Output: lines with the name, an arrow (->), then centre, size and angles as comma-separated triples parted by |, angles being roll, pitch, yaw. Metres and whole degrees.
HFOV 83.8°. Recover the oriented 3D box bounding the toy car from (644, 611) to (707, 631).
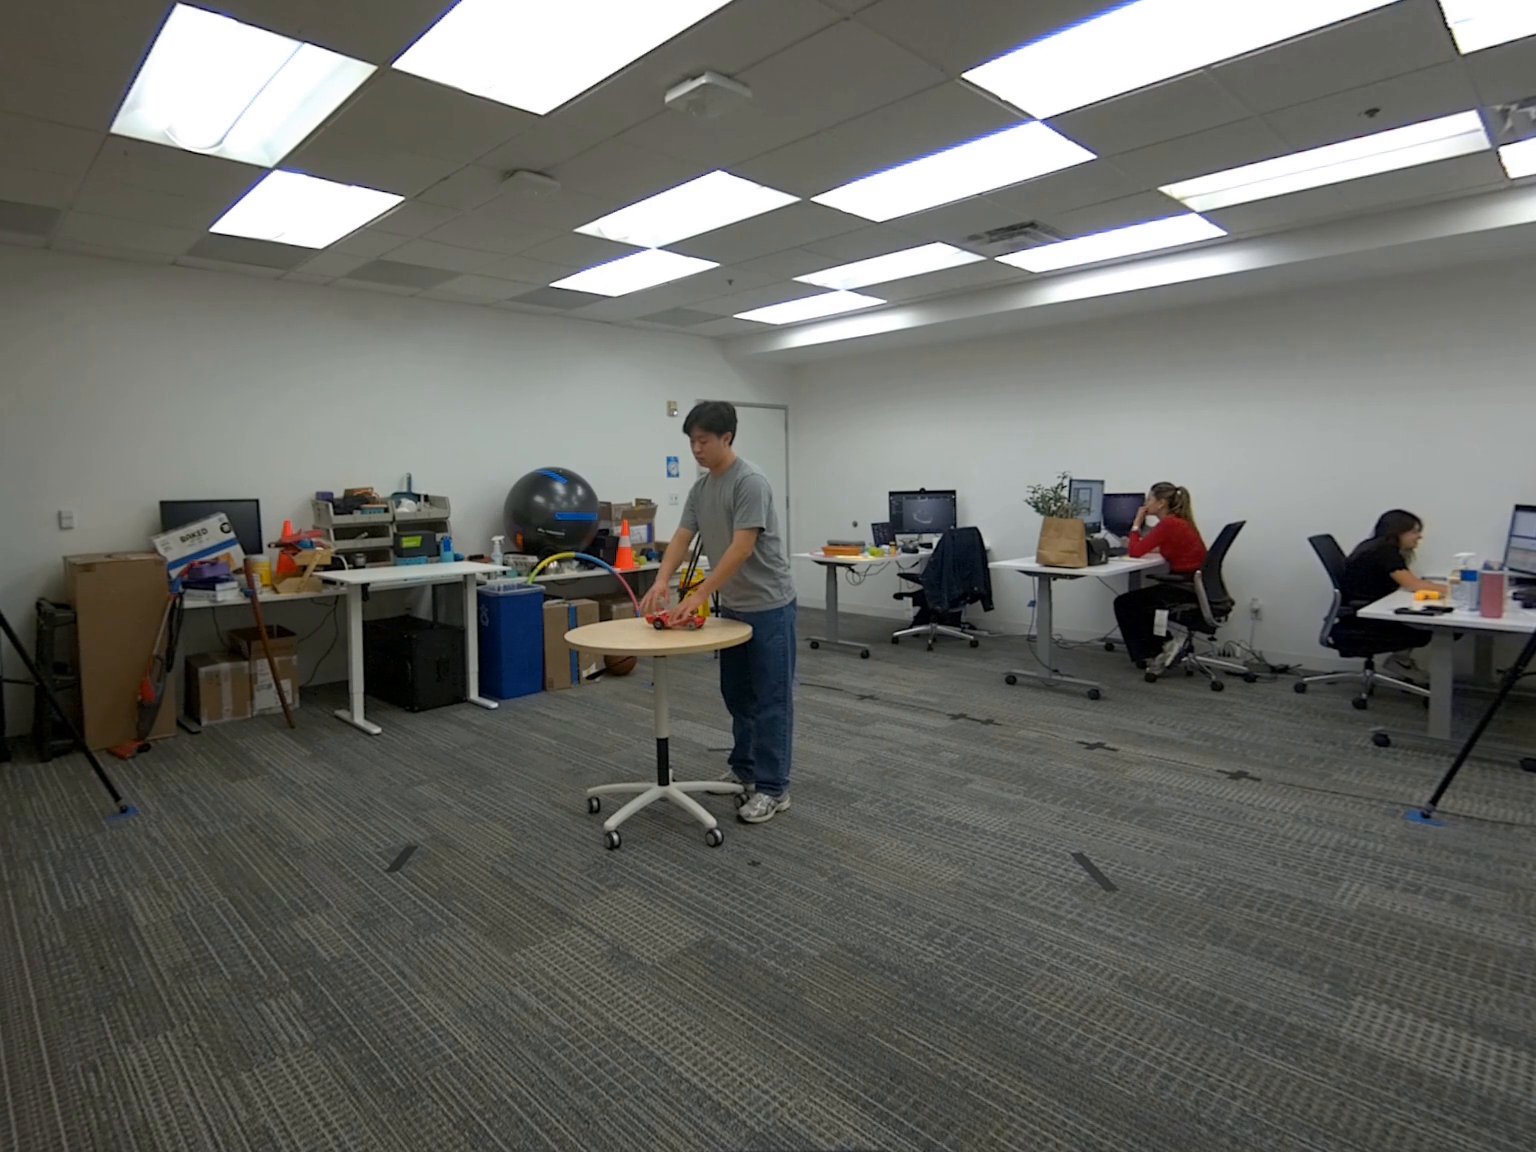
toy car -> -0.399, 0.188, 3.555 | 0.258, 0.083, 0.129 | 13, 8, 13
